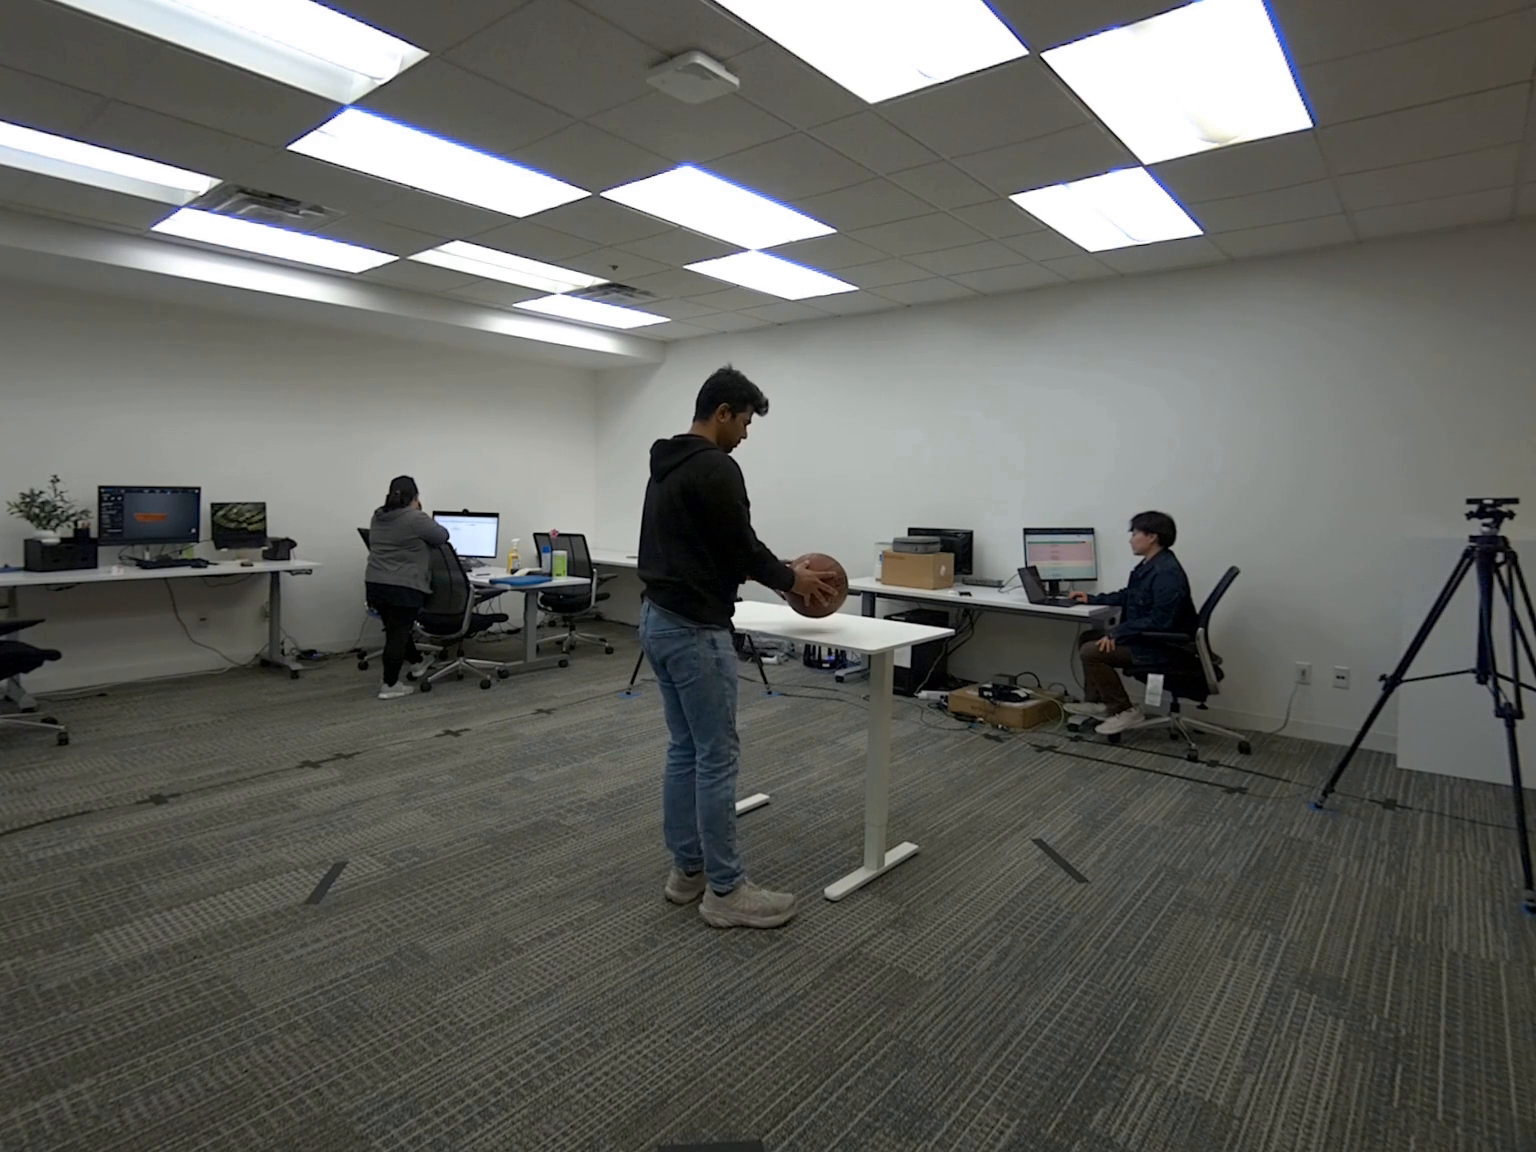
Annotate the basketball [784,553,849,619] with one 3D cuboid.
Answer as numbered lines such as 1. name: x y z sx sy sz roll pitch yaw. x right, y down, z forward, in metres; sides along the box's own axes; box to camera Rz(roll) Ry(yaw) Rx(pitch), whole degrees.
1. basketball: 0.158 0.038 3.081 0.235 0.235 0.237 1 4 -2
